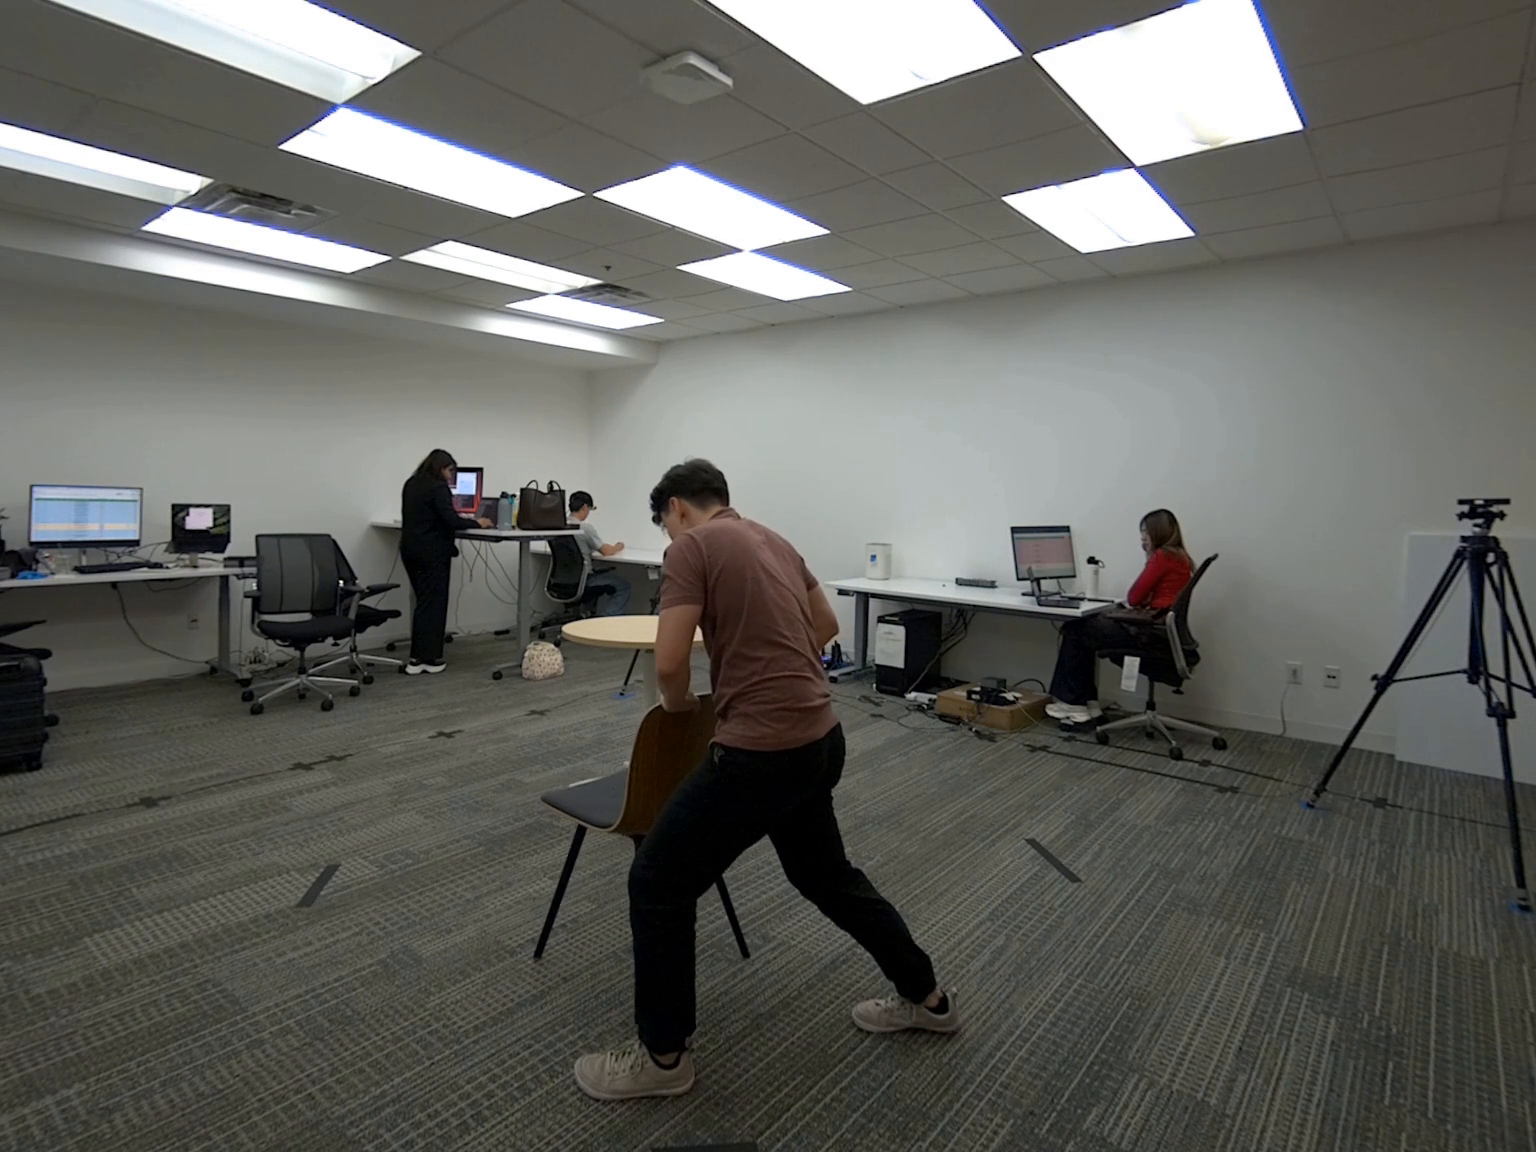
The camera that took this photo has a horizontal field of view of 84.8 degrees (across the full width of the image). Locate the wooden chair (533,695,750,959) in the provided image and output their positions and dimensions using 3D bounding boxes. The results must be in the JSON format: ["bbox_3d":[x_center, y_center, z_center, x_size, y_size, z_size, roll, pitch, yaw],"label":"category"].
[{"bbox_3d":[-0.376,0.699,2.498,0.542,0.872,0.464,10,9,41],"label":"wooden chair"}]
